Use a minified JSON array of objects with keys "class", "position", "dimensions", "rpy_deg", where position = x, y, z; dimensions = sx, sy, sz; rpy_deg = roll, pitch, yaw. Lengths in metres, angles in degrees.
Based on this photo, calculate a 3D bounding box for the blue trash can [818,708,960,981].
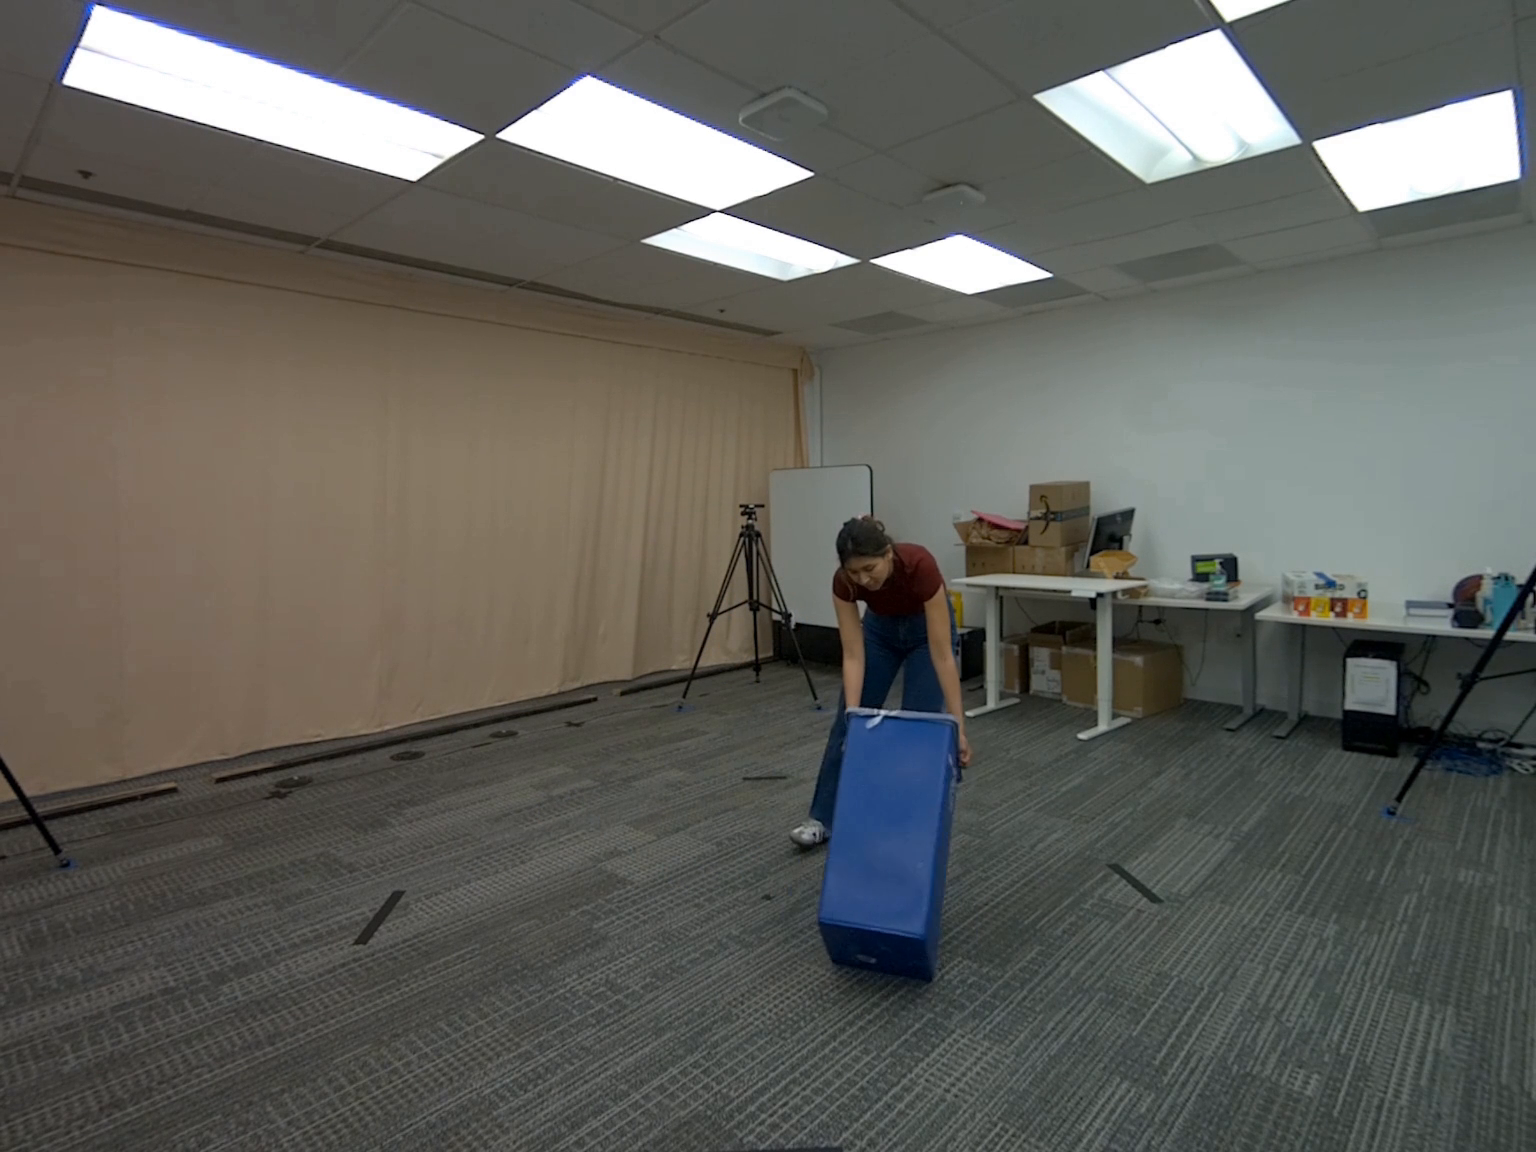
[{"class":"blue trash can","position":[0.381,0.823,2.643],"dimensions":[0.386,0.364,0.718],"rpy_deg":[1,45,19]}]
